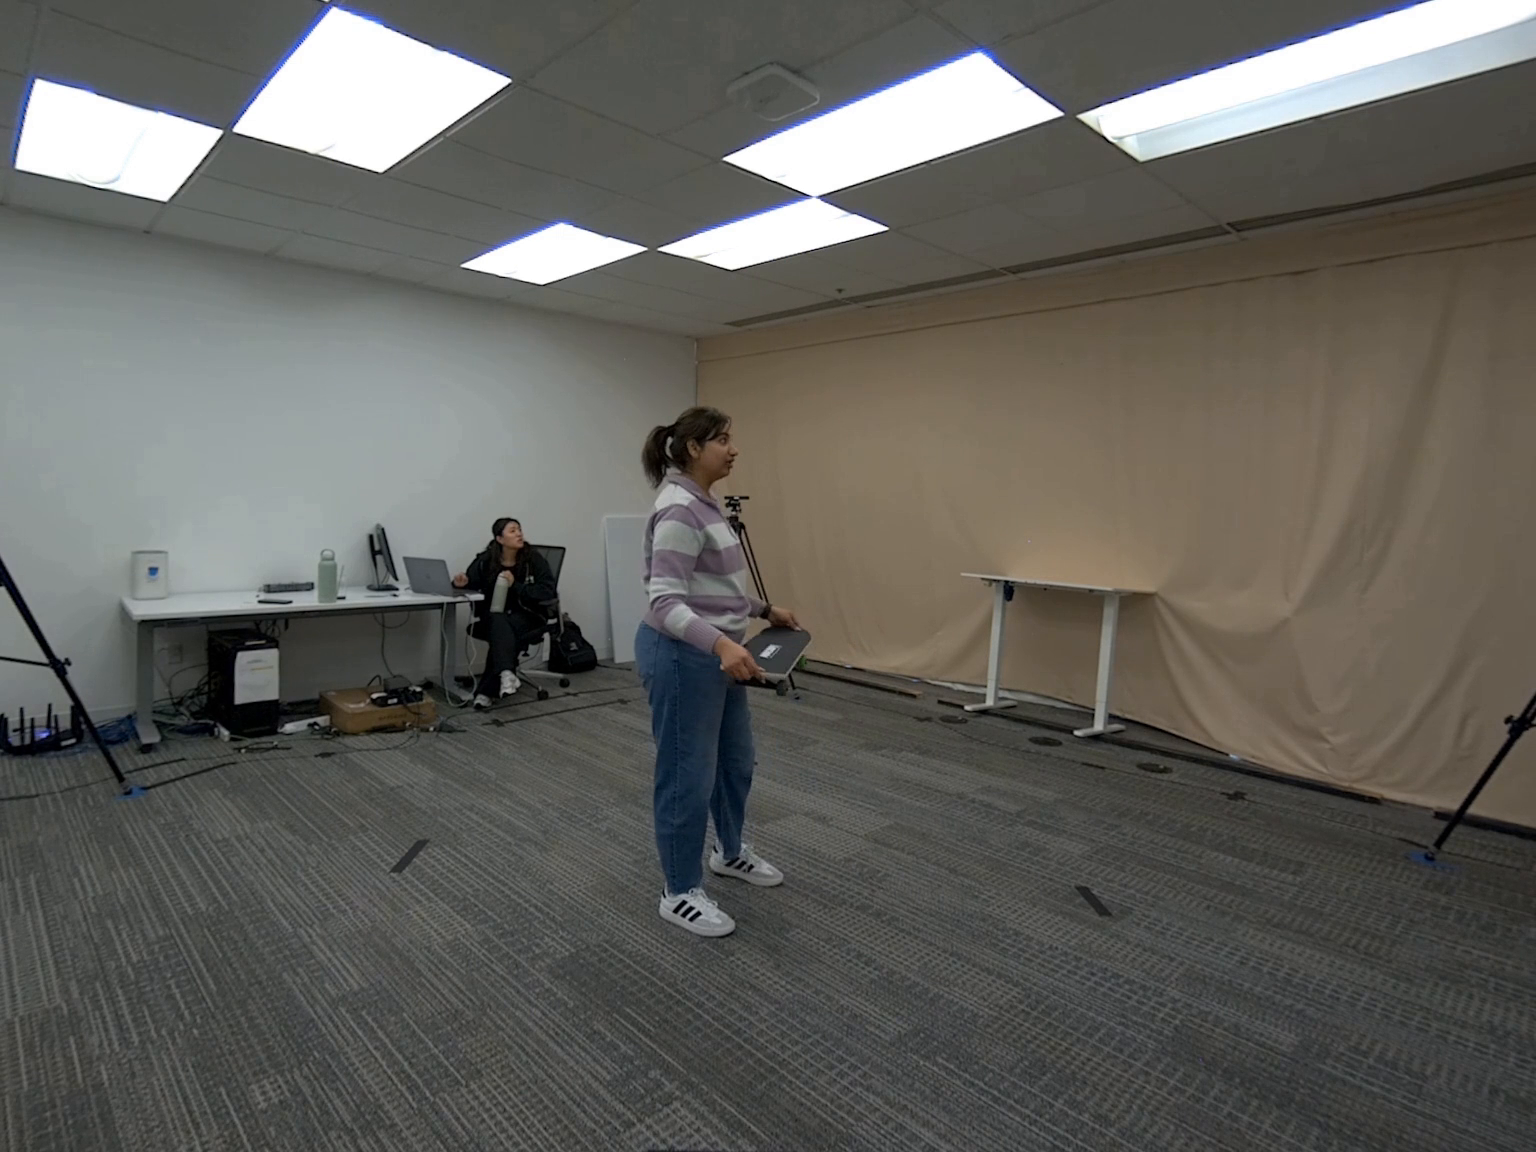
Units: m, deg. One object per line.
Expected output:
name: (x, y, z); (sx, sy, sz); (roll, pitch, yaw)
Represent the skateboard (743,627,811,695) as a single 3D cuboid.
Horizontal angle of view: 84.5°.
skateboard: (-0.003, 0.273, 2.691); (0.196, 0.110, 0.780); (8, 8, 11)
